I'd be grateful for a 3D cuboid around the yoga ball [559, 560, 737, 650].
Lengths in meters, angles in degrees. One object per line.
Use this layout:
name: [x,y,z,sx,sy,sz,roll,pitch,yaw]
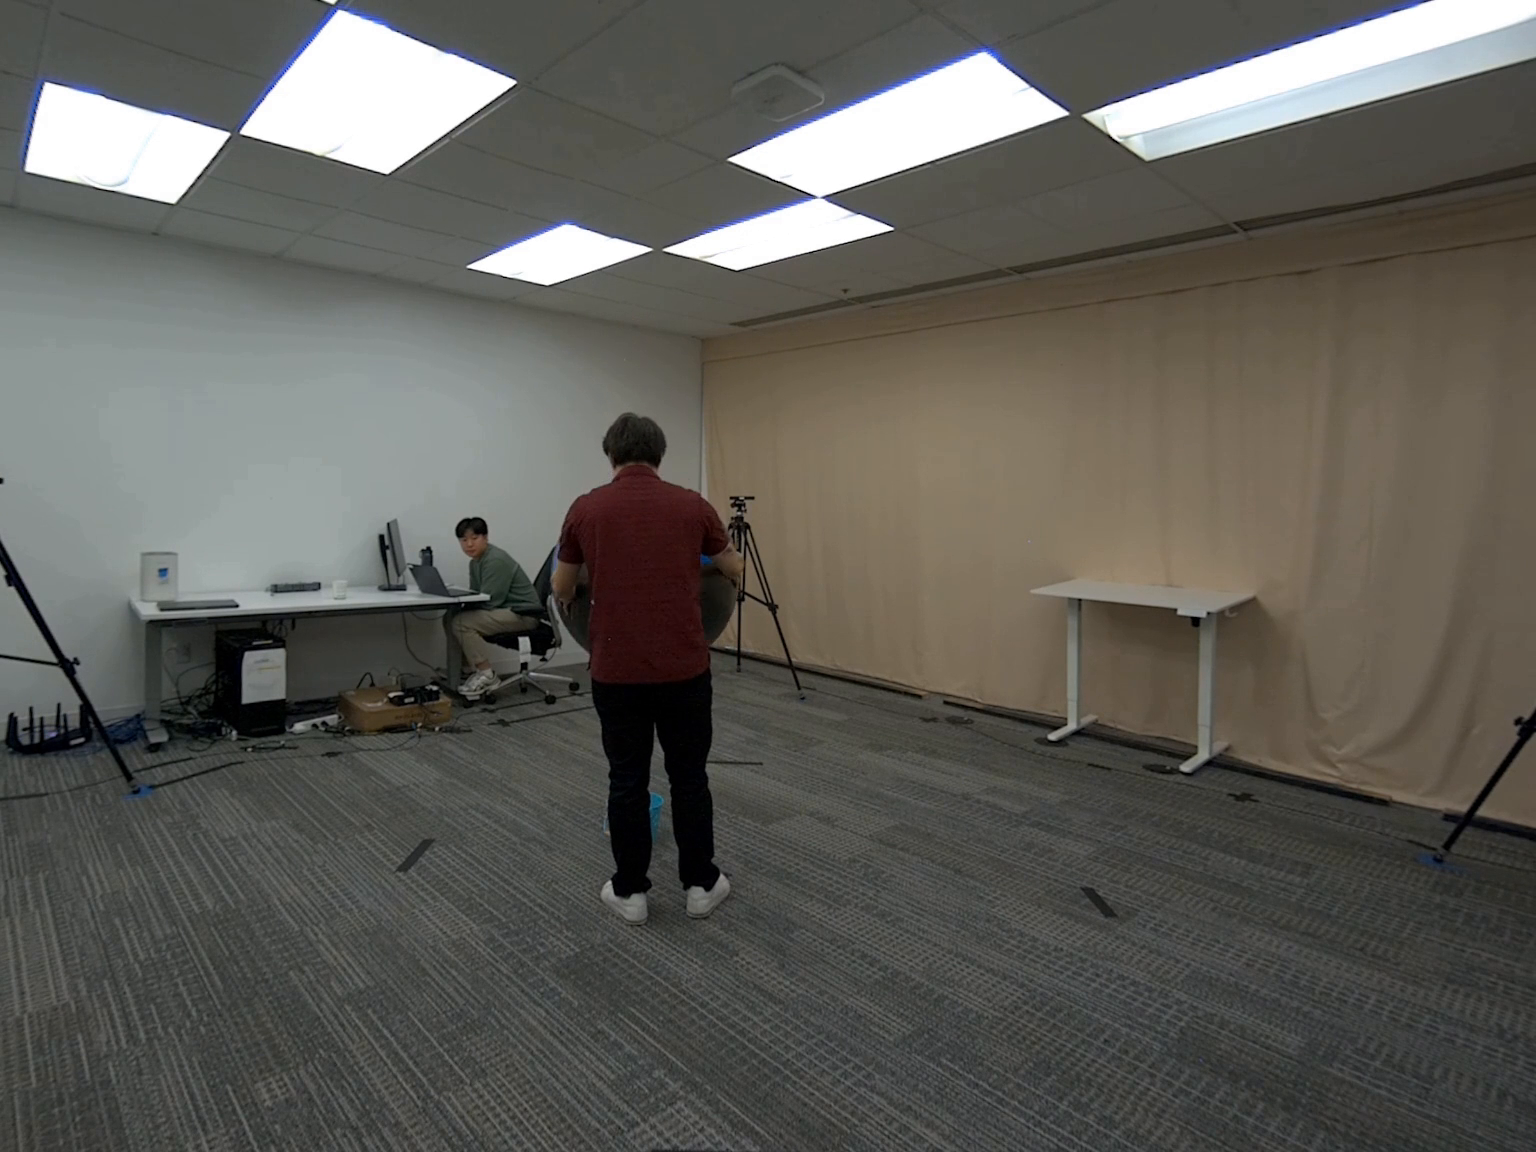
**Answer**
yoga ball: [-0.497,0.006,3.395,0.757,0.756,0.761,1,4,-1]
